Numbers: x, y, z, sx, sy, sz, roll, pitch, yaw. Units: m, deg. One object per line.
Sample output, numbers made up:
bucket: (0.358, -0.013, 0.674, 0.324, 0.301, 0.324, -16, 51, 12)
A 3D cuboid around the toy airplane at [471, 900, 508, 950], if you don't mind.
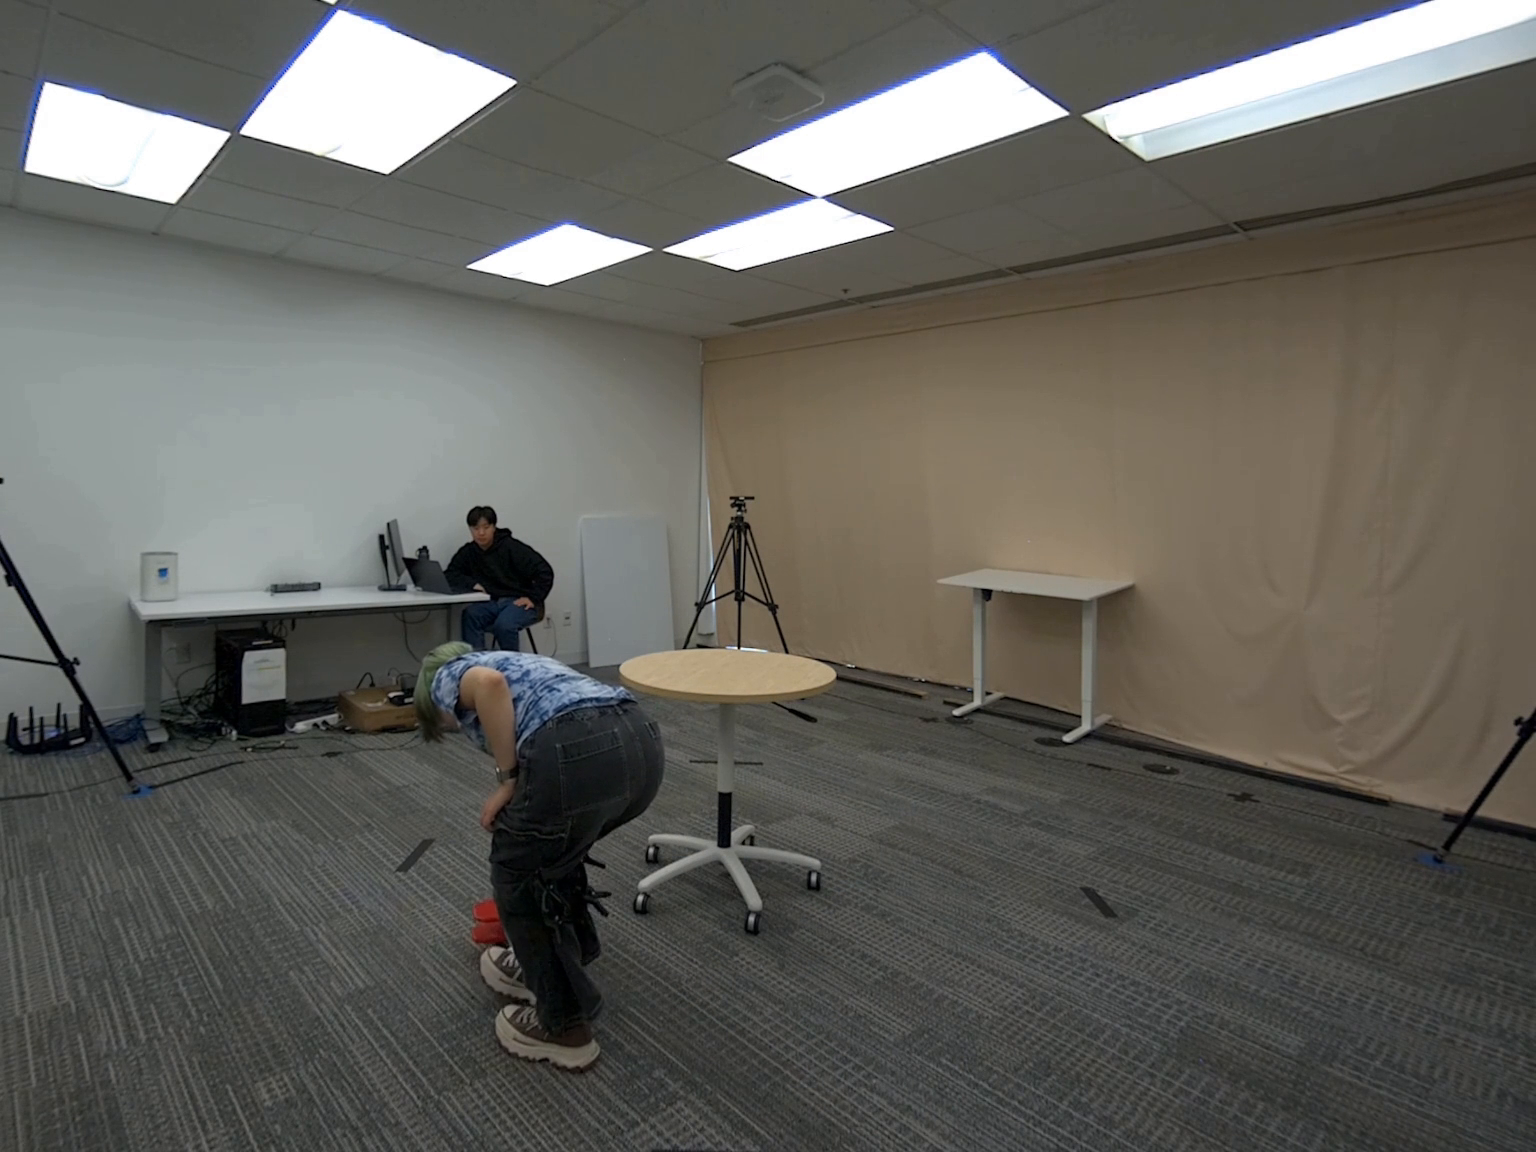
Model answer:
toy airplane: (-0.749, 1.077, 2.535, 0.265, 0.156, 0.245, 4, 4, 38)
